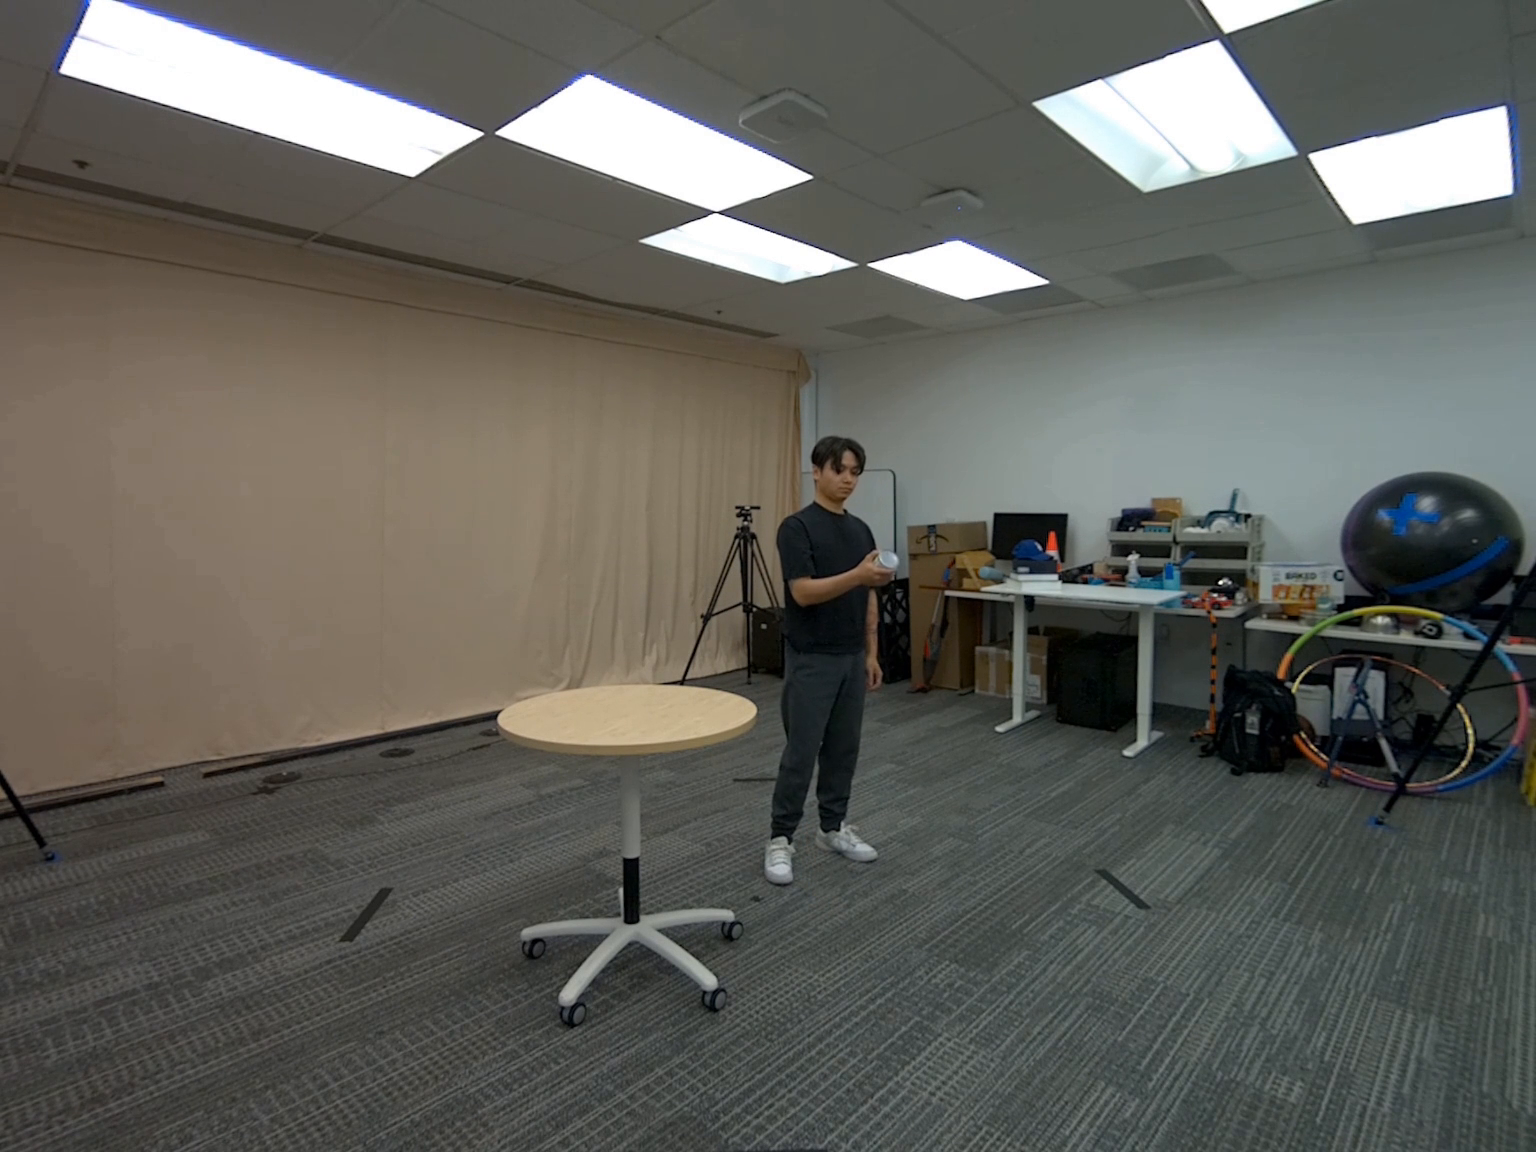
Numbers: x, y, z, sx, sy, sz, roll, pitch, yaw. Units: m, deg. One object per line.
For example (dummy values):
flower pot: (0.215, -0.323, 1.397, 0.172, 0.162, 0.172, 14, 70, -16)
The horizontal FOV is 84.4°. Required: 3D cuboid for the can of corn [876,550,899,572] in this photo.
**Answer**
can of corn: (0.401, -0.037, 2.951, 0.073, 0.075, 0.111, -1, -24, -14)
